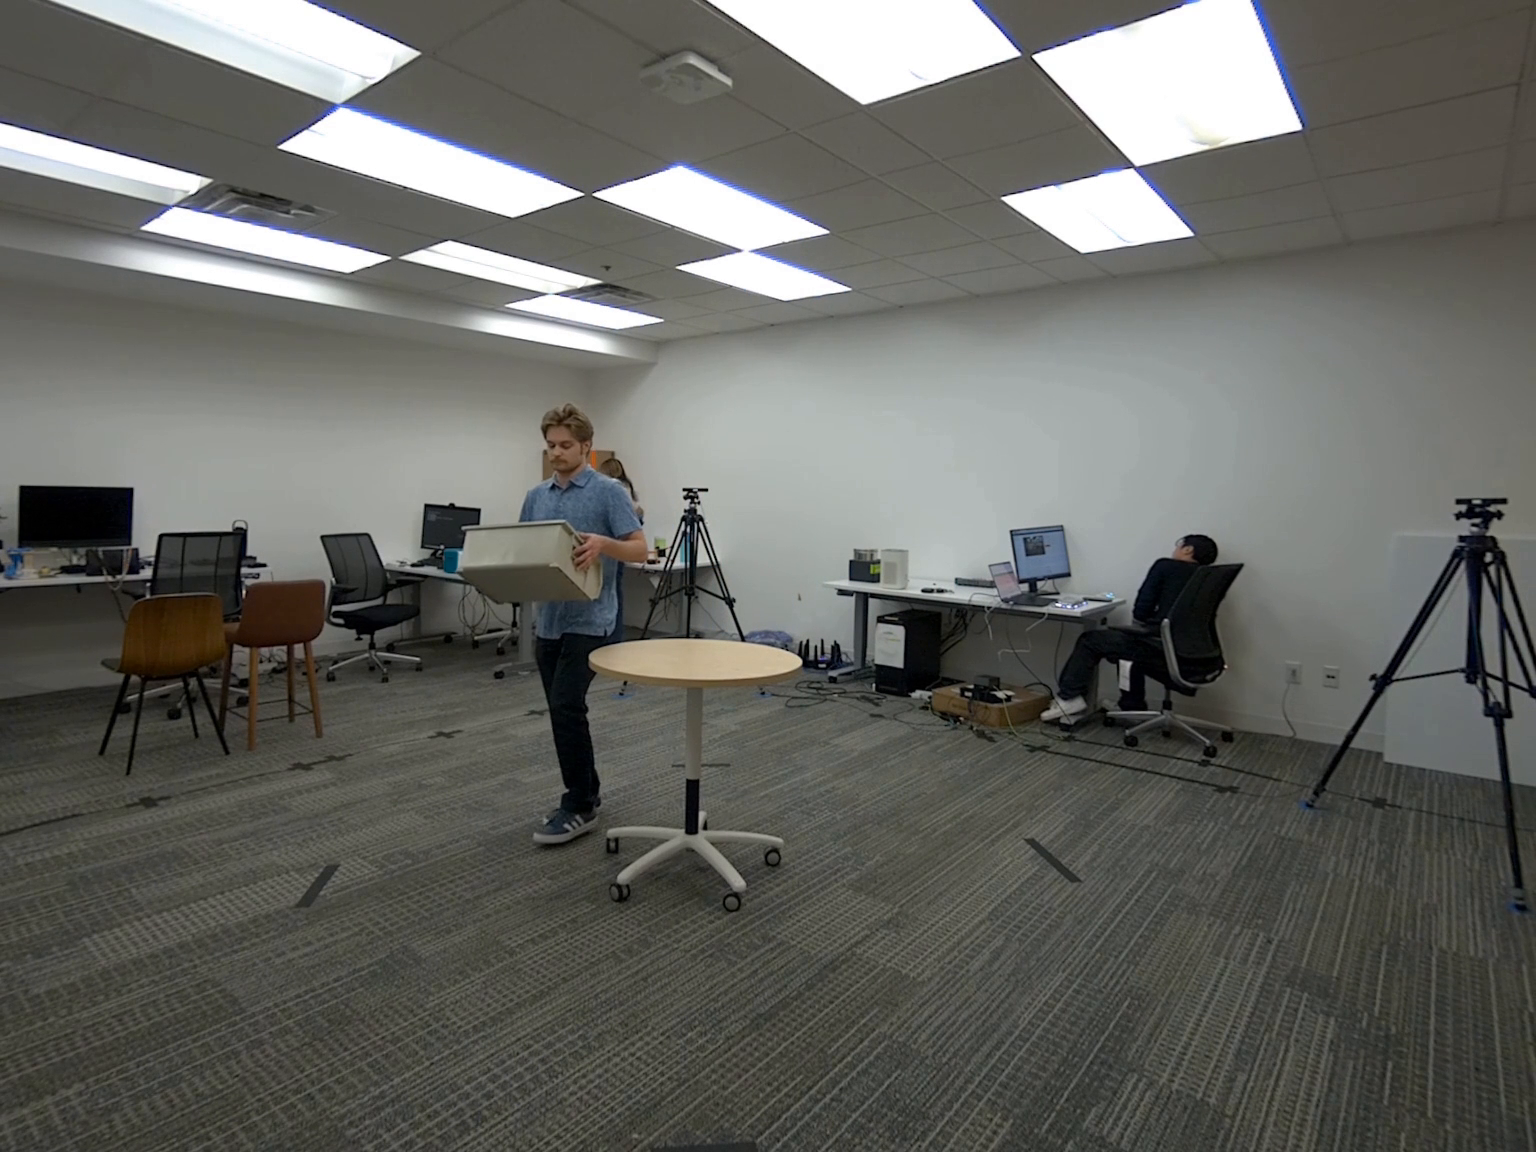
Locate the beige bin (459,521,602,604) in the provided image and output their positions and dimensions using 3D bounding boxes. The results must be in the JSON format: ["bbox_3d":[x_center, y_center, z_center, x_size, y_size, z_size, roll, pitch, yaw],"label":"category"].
[{"bbox_3d":[-0.908,-0.037,3.205,0.430,0.193,0.364,-2,-25,16],"label":"beige bin"}]
